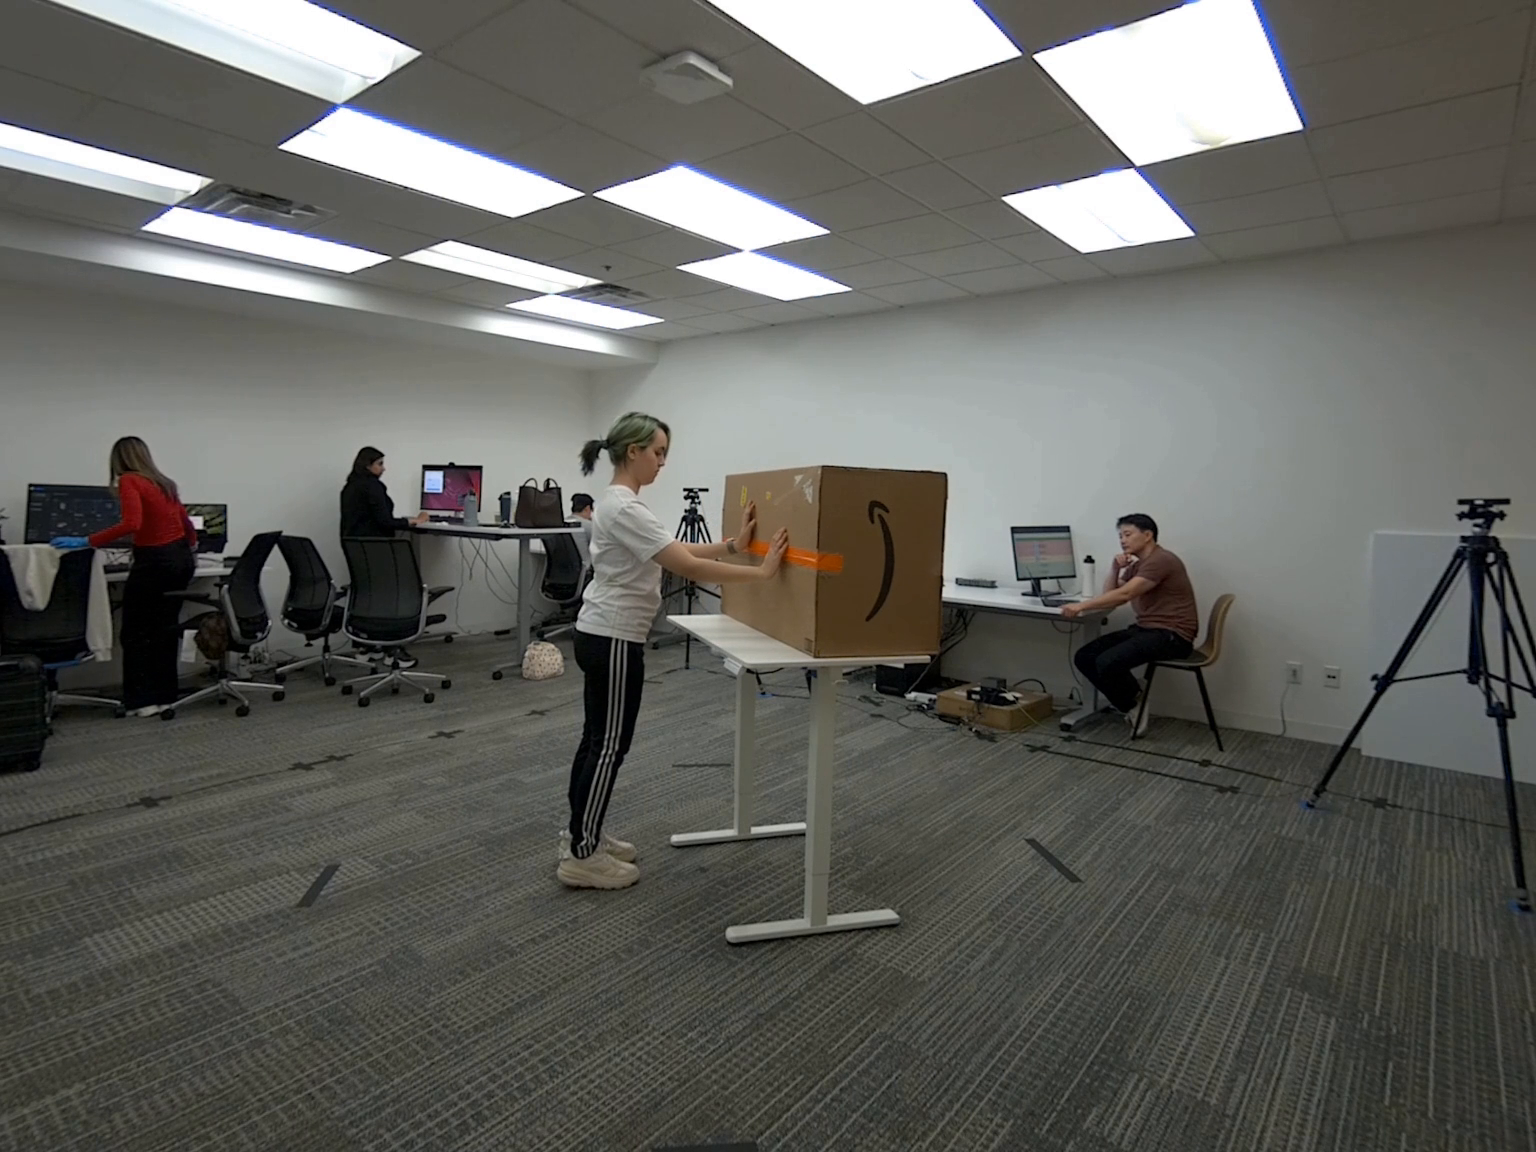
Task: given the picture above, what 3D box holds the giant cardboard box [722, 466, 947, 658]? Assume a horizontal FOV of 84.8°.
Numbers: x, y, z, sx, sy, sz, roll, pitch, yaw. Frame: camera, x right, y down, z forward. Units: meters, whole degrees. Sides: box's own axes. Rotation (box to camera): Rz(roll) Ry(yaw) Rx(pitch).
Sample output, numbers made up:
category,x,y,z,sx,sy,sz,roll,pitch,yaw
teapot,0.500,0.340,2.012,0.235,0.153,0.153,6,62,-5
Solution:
category,x,y,z,sx,sy,sz,roll,pitch,yaw
giant cardboard box,0.173,-0.090,3.080,0.438,0.583,1.049,1,4,-19
